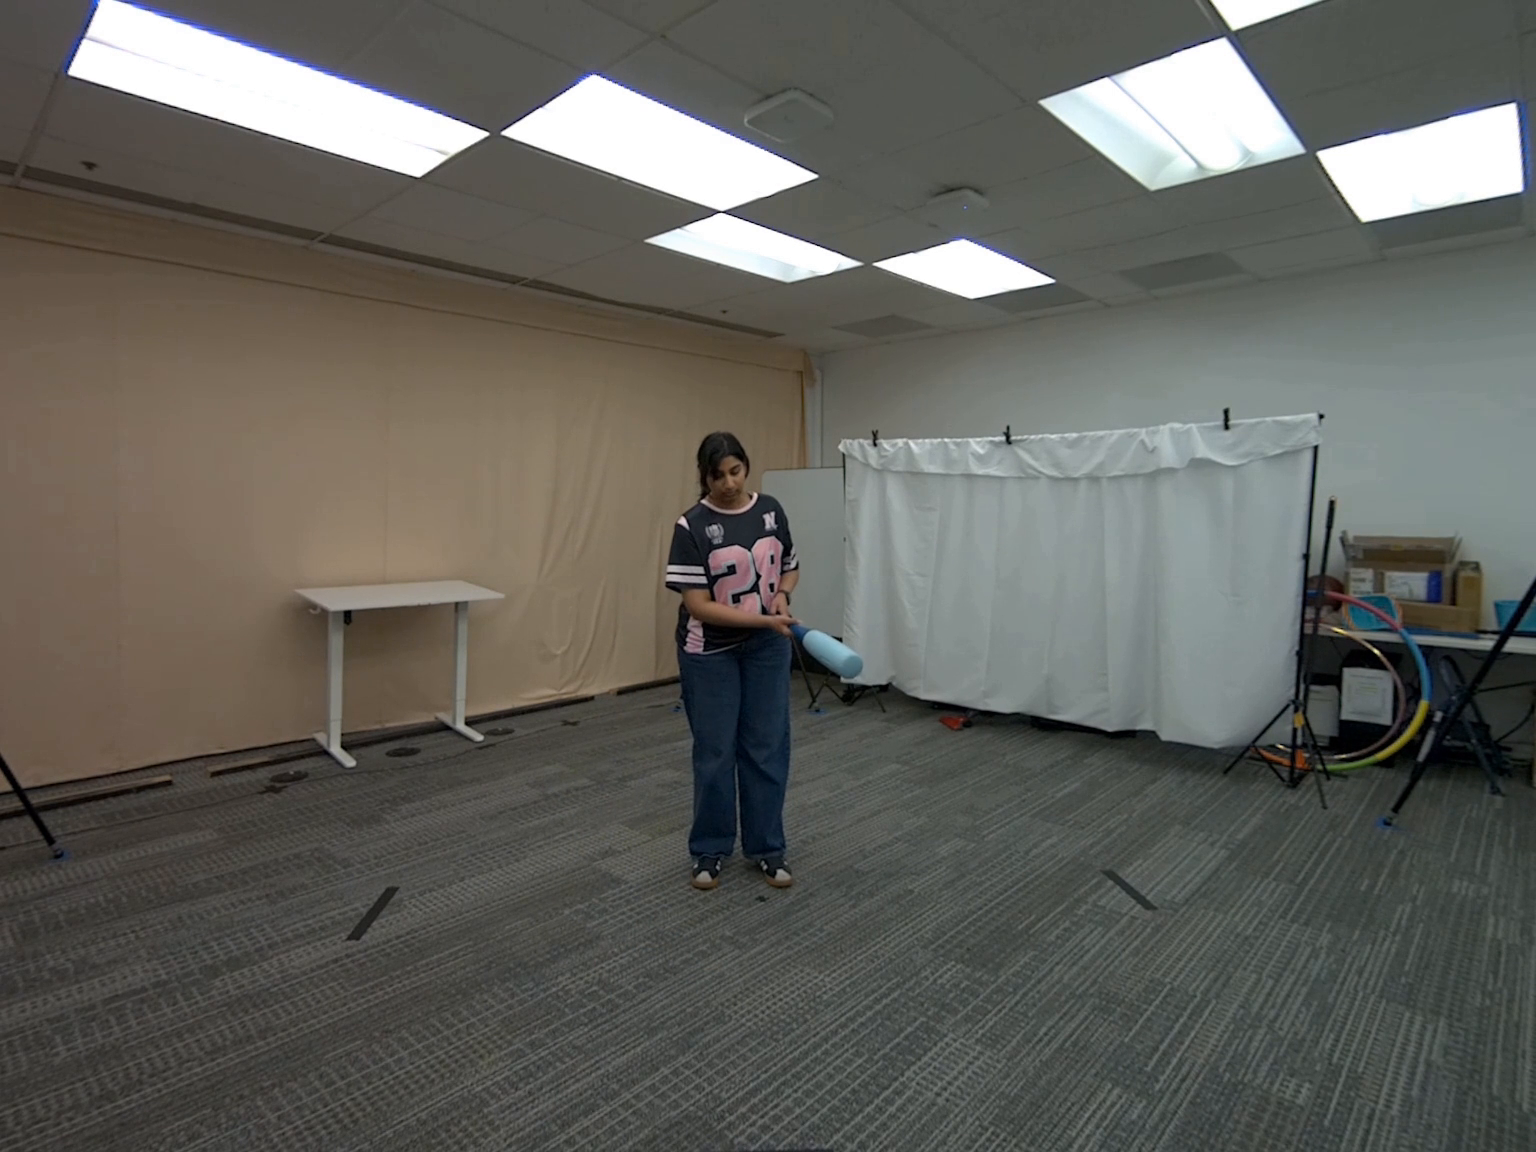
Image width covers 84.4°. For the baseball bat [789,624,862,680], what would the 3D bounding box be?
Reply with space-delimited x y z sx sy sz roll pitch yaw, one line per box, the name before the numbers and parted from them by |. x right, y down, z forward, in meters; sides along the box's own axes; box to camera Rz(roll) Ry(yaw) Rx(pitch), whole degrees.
baseball bat | 0.149 0.215 2.786 0.087 0.088 0.559 -2 15 -22
